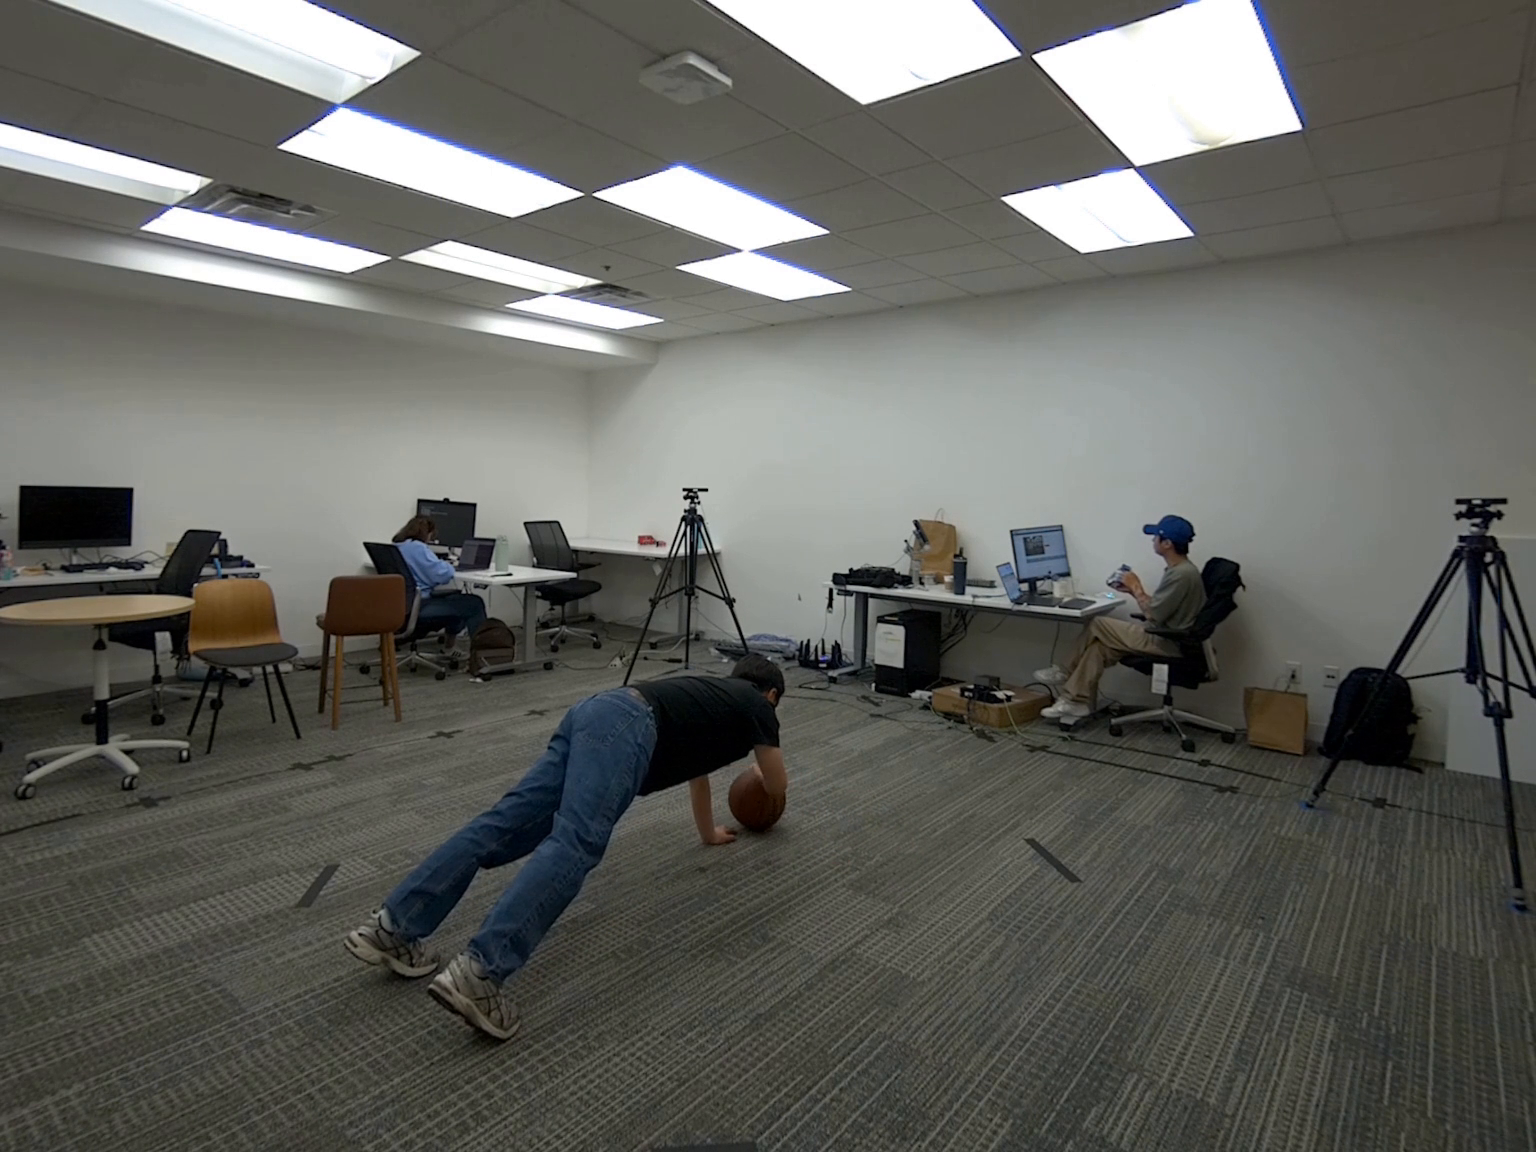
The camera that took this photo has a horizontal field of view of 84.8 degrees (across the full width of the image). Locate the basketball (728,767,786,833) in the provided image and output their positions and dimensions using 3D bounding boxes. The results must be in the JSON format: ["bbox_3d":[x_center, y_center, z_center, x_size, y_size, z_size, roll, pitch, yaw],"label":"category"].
[{"bbox_3d":[-0.053,0.910,3.504,0.235,0.235,0.237,1,4,-2],"label":"basketball"}]
